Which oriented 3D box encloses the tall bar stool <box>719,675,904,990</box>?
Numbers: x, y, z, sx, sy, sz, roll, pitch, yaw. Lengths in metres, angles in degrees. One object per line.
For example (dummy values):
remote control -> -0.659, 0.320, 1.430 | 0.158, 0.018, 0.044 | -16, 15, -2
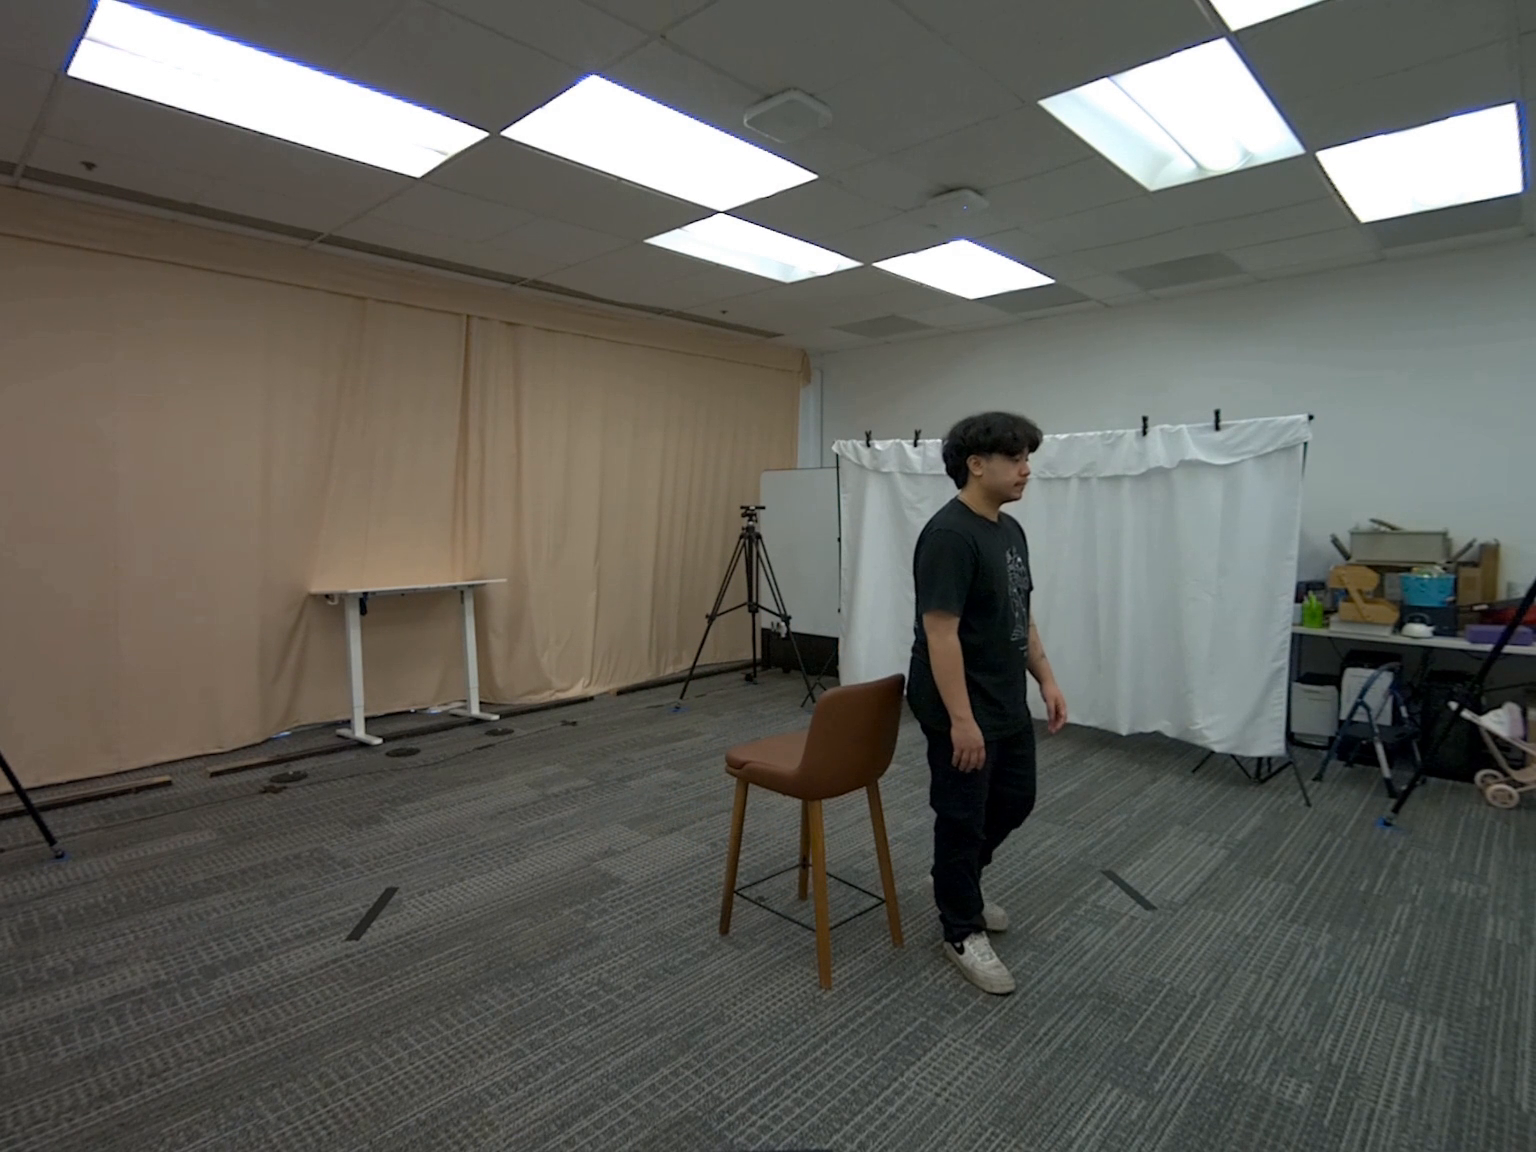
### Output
tall bar stool -> 0.152, 0.734, 2.677 | 0.442, 0.887, 0.484 | -3, 7, -43
